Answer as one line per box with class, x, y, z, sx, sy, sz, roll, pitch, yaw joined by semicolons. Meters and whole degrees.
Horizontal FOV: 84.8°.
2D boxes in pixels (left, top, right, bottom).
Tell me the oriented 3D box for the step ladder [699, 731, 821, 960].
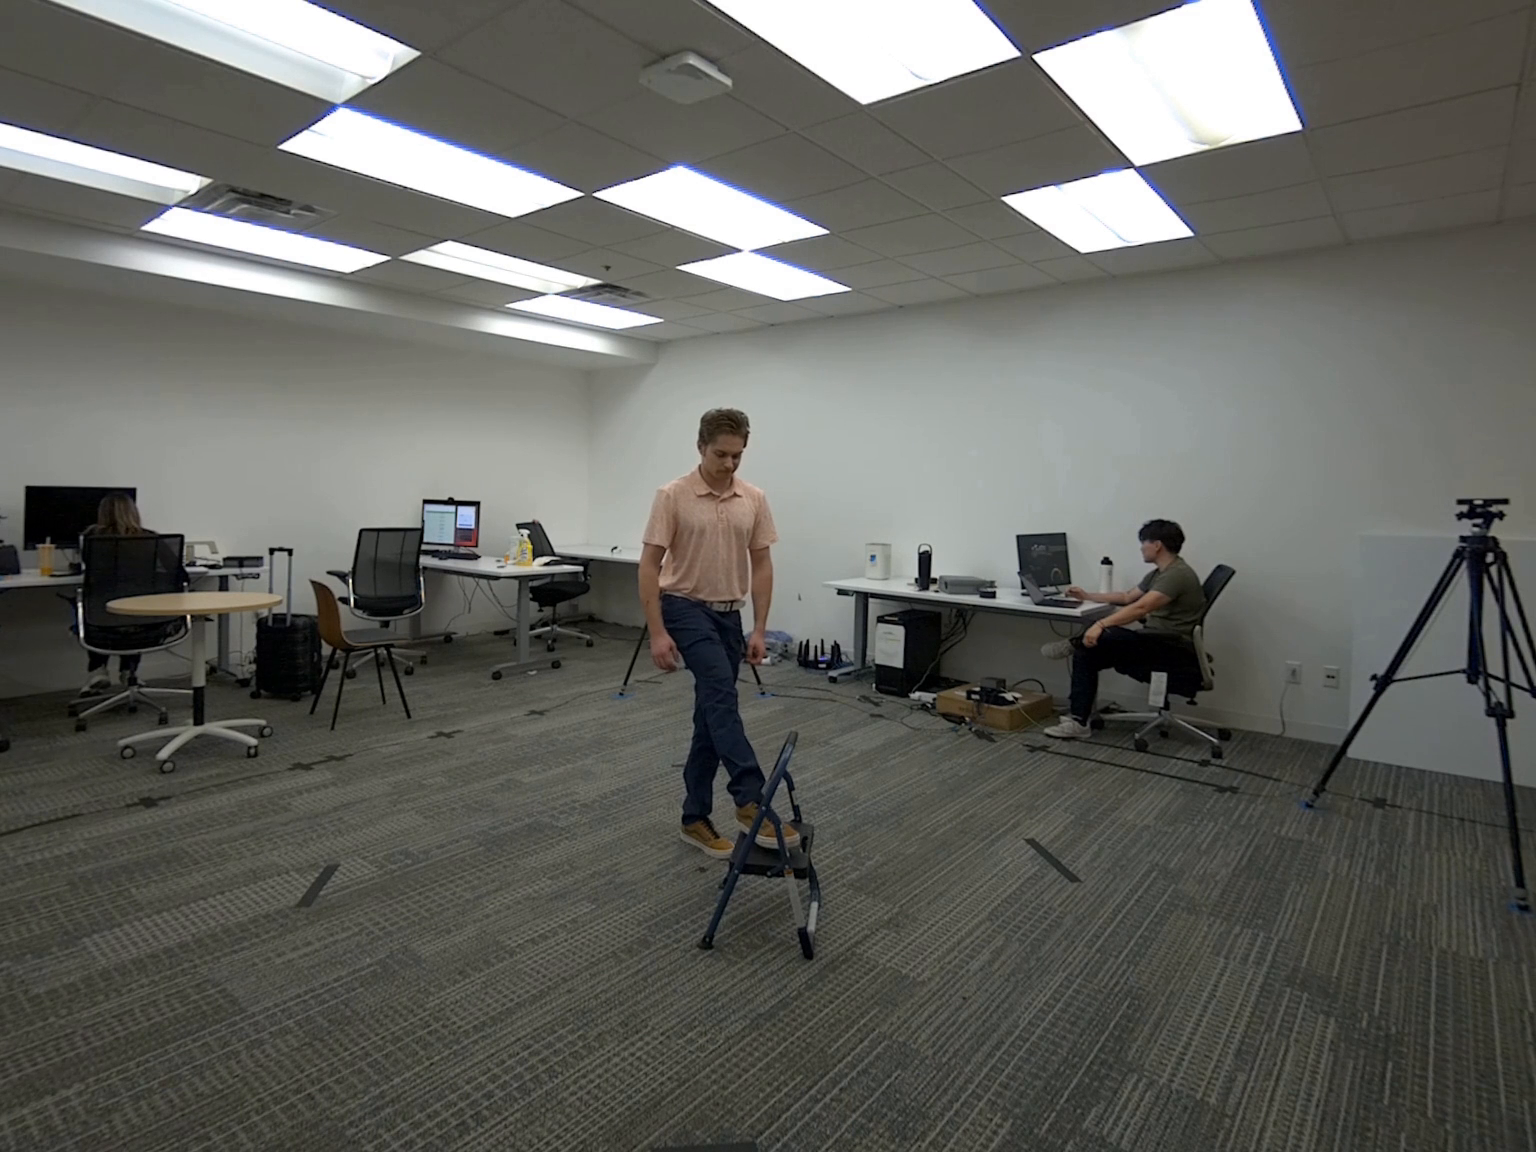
step ladder;-0.008;0.809;2.731;0.352;0.604;0.428;2;4;7
